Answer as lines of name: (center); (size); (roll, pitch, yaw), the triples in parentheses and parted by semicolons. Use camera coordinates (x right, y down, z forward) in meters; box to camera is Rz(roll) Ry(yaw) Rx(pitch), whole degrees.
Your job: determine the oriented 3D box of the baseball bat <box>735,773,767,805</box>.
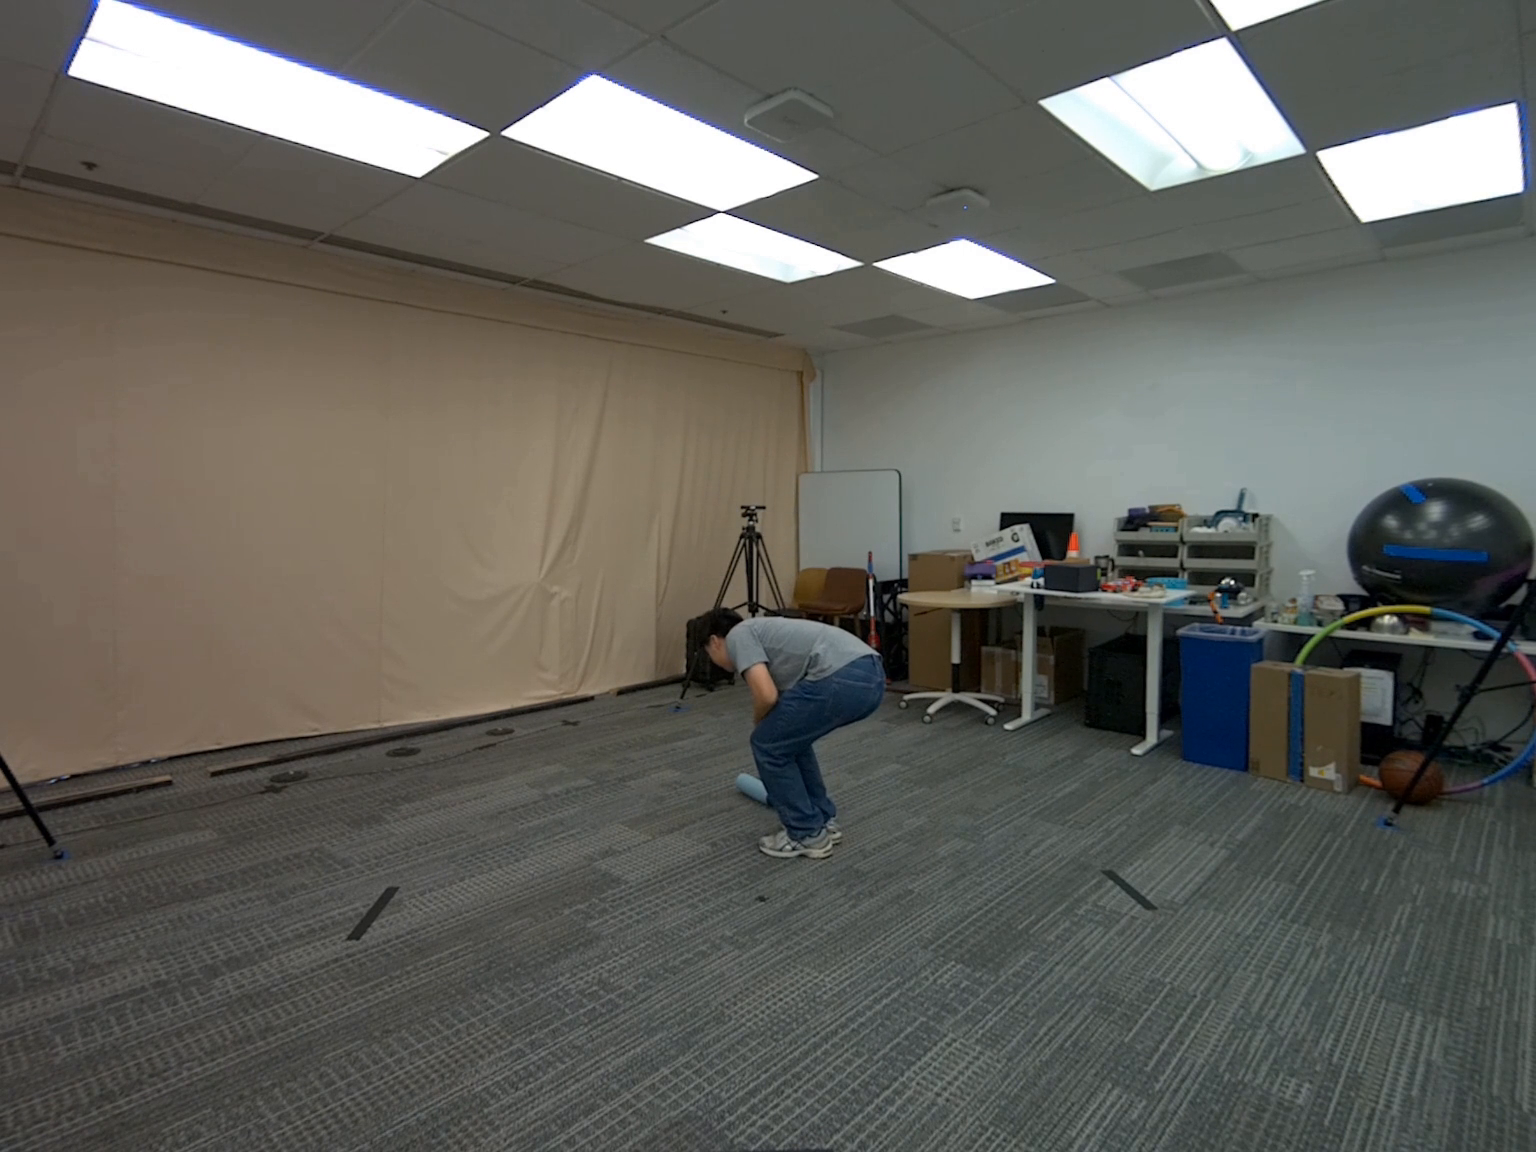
baseball bat: (0.034, 1.033, 3.892); (0.086, 0.089, 0.561); (-3, 9, -35)
